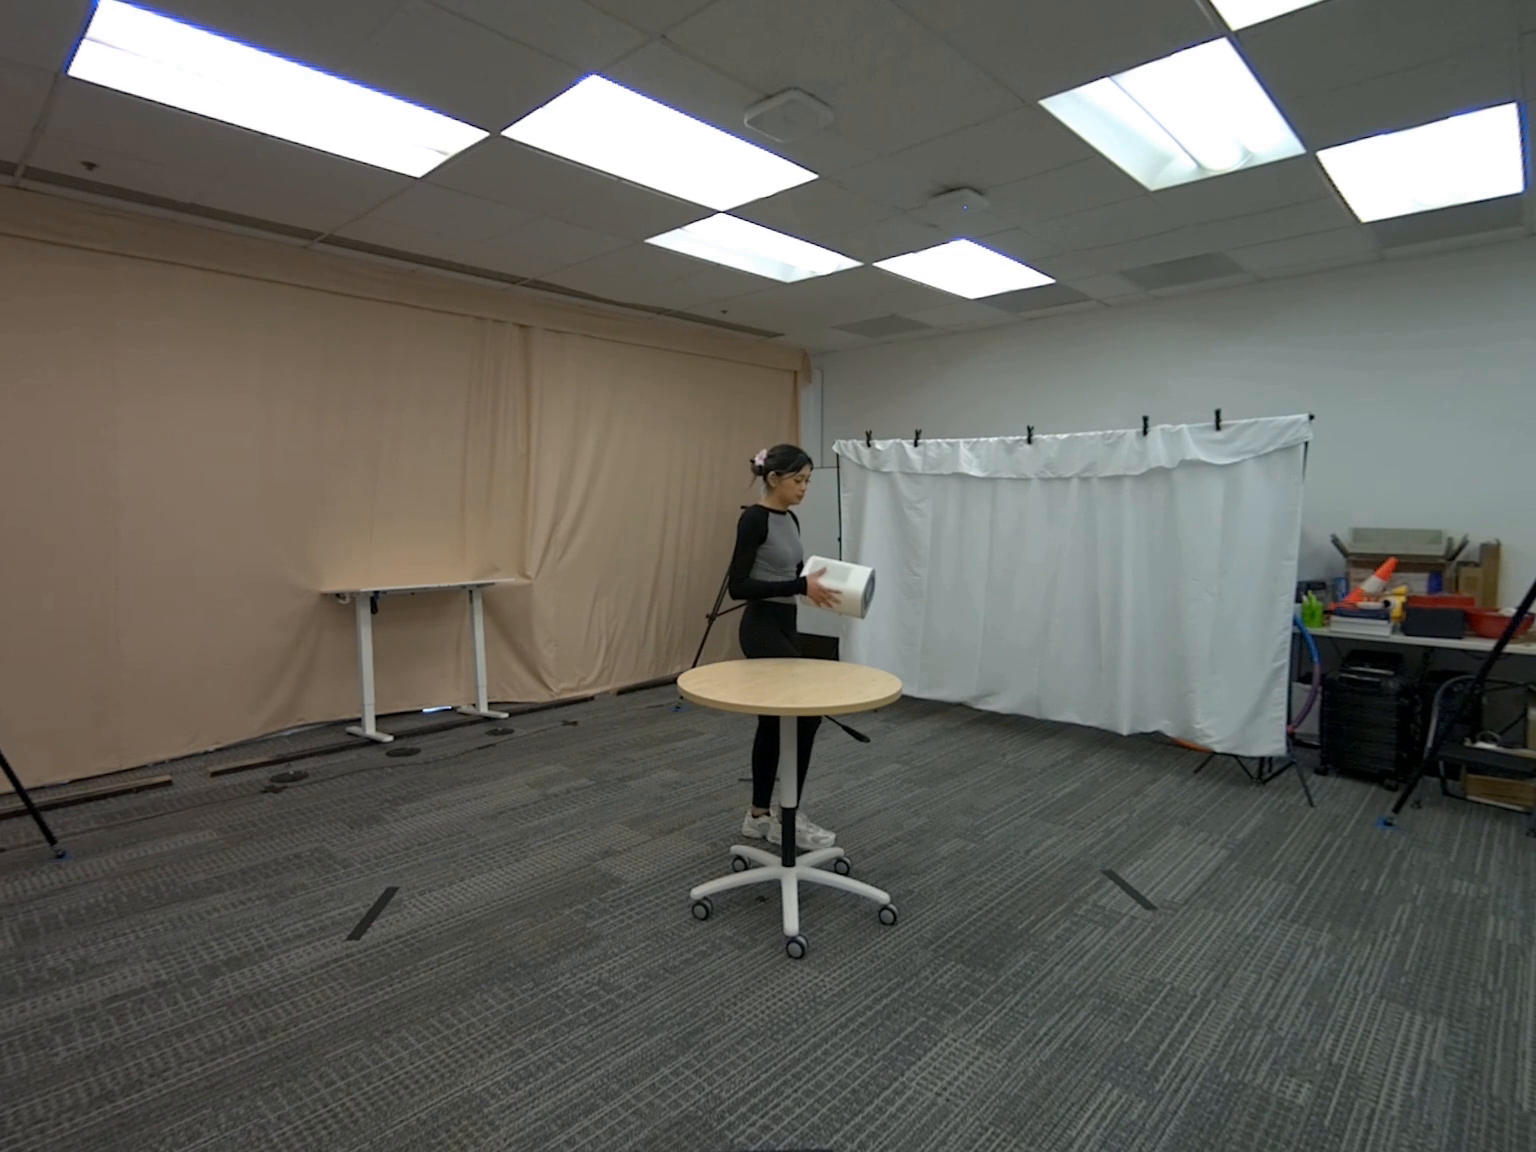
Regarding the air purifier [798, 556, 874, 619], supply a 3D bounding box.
[{"bbox_3d":[0.275,0.040,3.284,0.271,0.167,0.172,12,50,18],"label":"air purifier"}]
